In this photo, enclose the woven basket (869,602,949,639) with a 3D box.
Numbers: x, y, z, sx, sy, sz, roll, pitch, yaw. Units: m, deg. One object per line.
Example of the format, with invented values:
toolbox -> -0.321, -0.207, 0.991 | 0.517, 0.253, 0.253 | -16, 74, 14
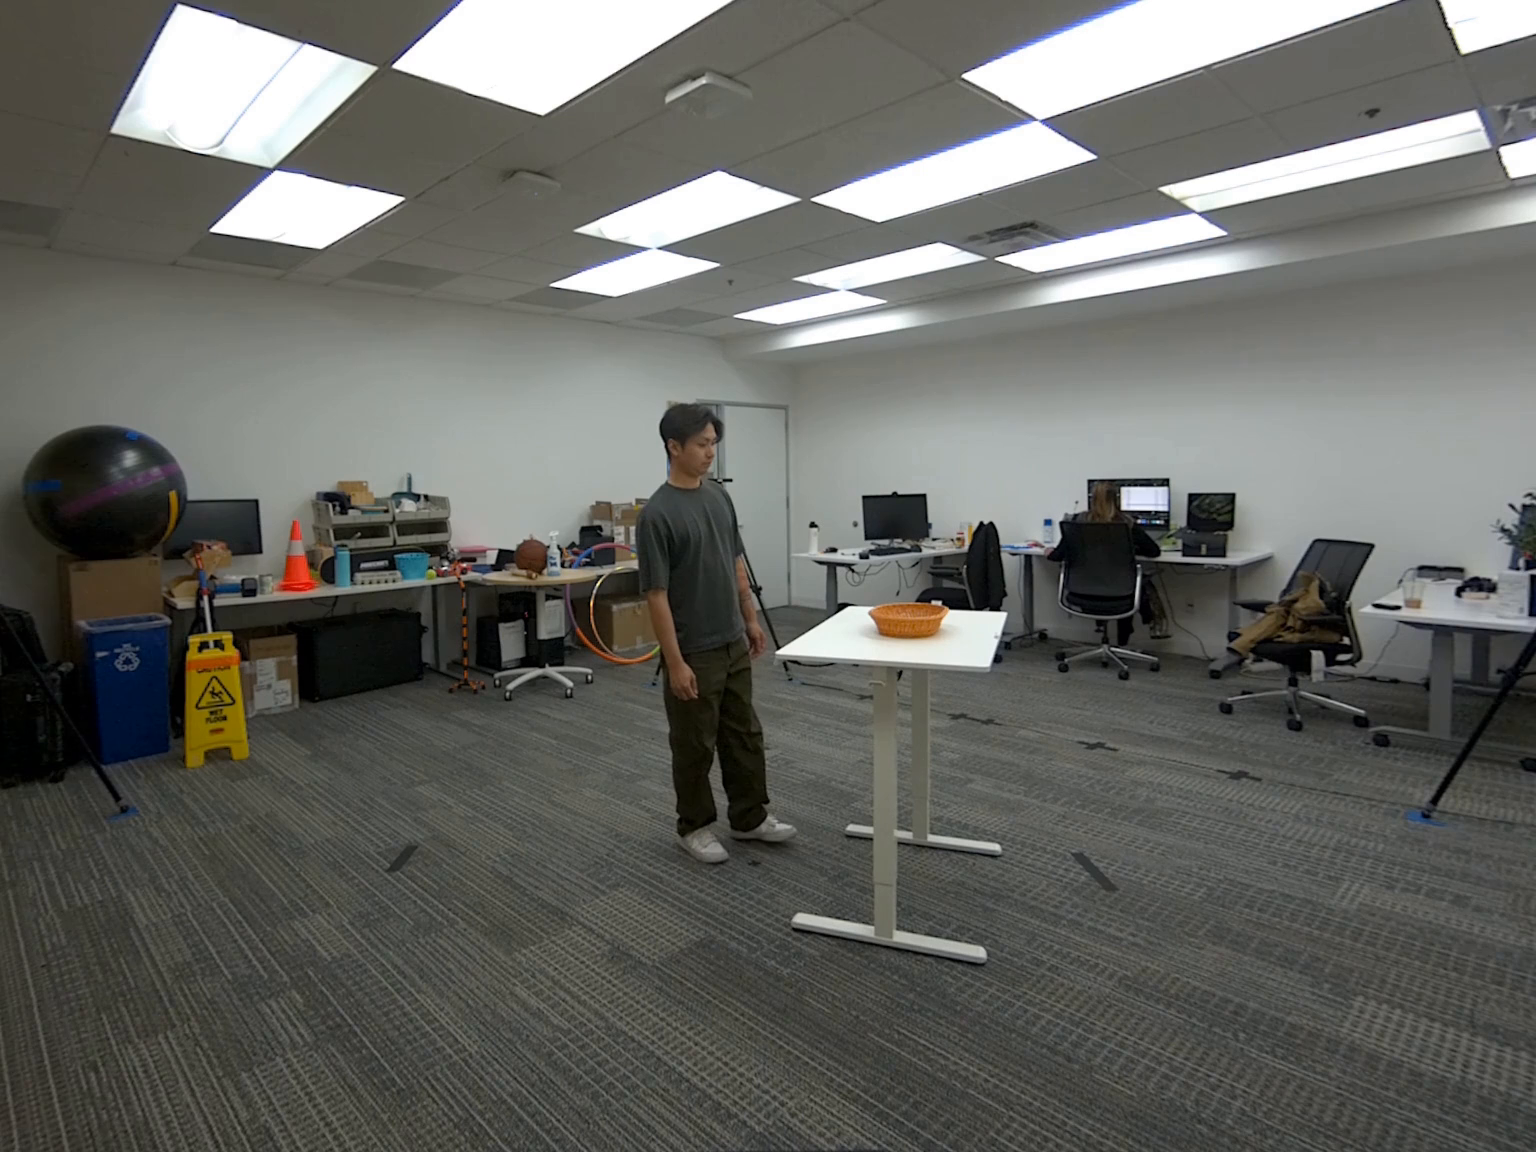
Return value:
woven basket -> 0.480, 0.154, 2.837 | 0.258, 0.073, 0.345 | 2, 7, 21
